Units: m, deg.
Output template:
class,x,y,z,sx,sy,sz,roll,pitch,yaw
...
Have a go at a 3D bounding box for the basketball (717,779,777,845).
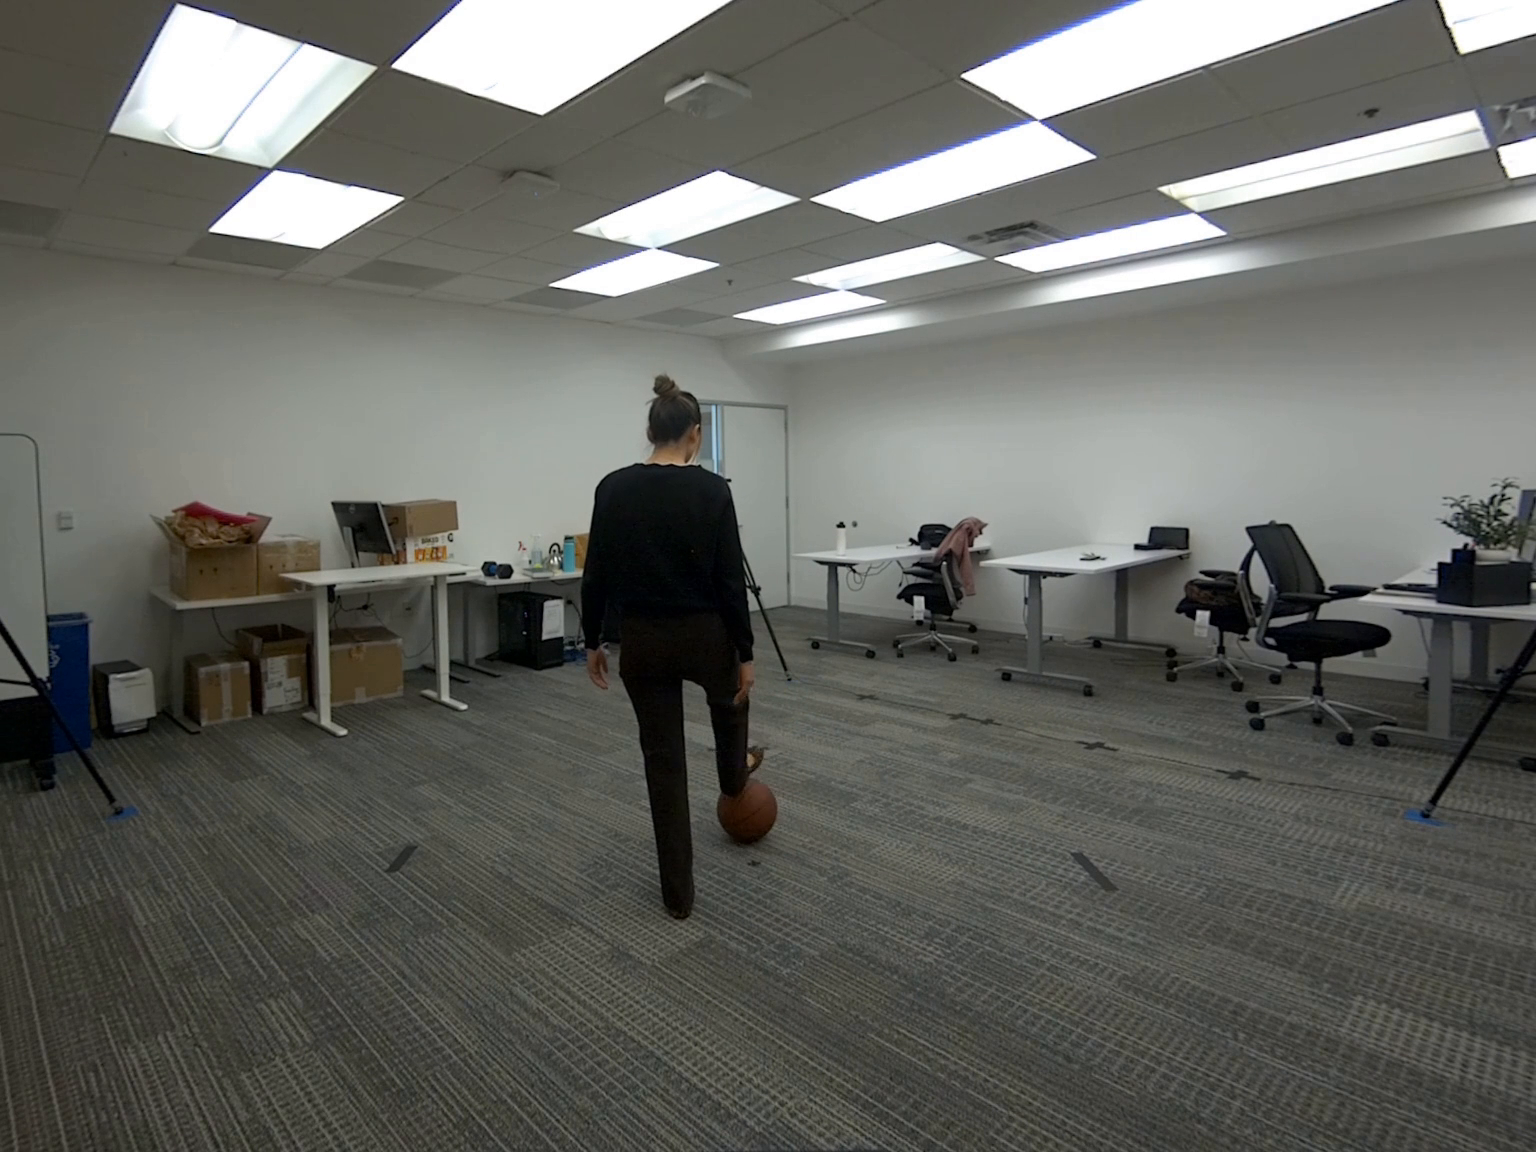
class,x,y,z,sx,sy,sz,roll,pitch,yaw
basketball,-0.078,0.906,3.313,0.236,0.235,0.237,-1,5,-2
